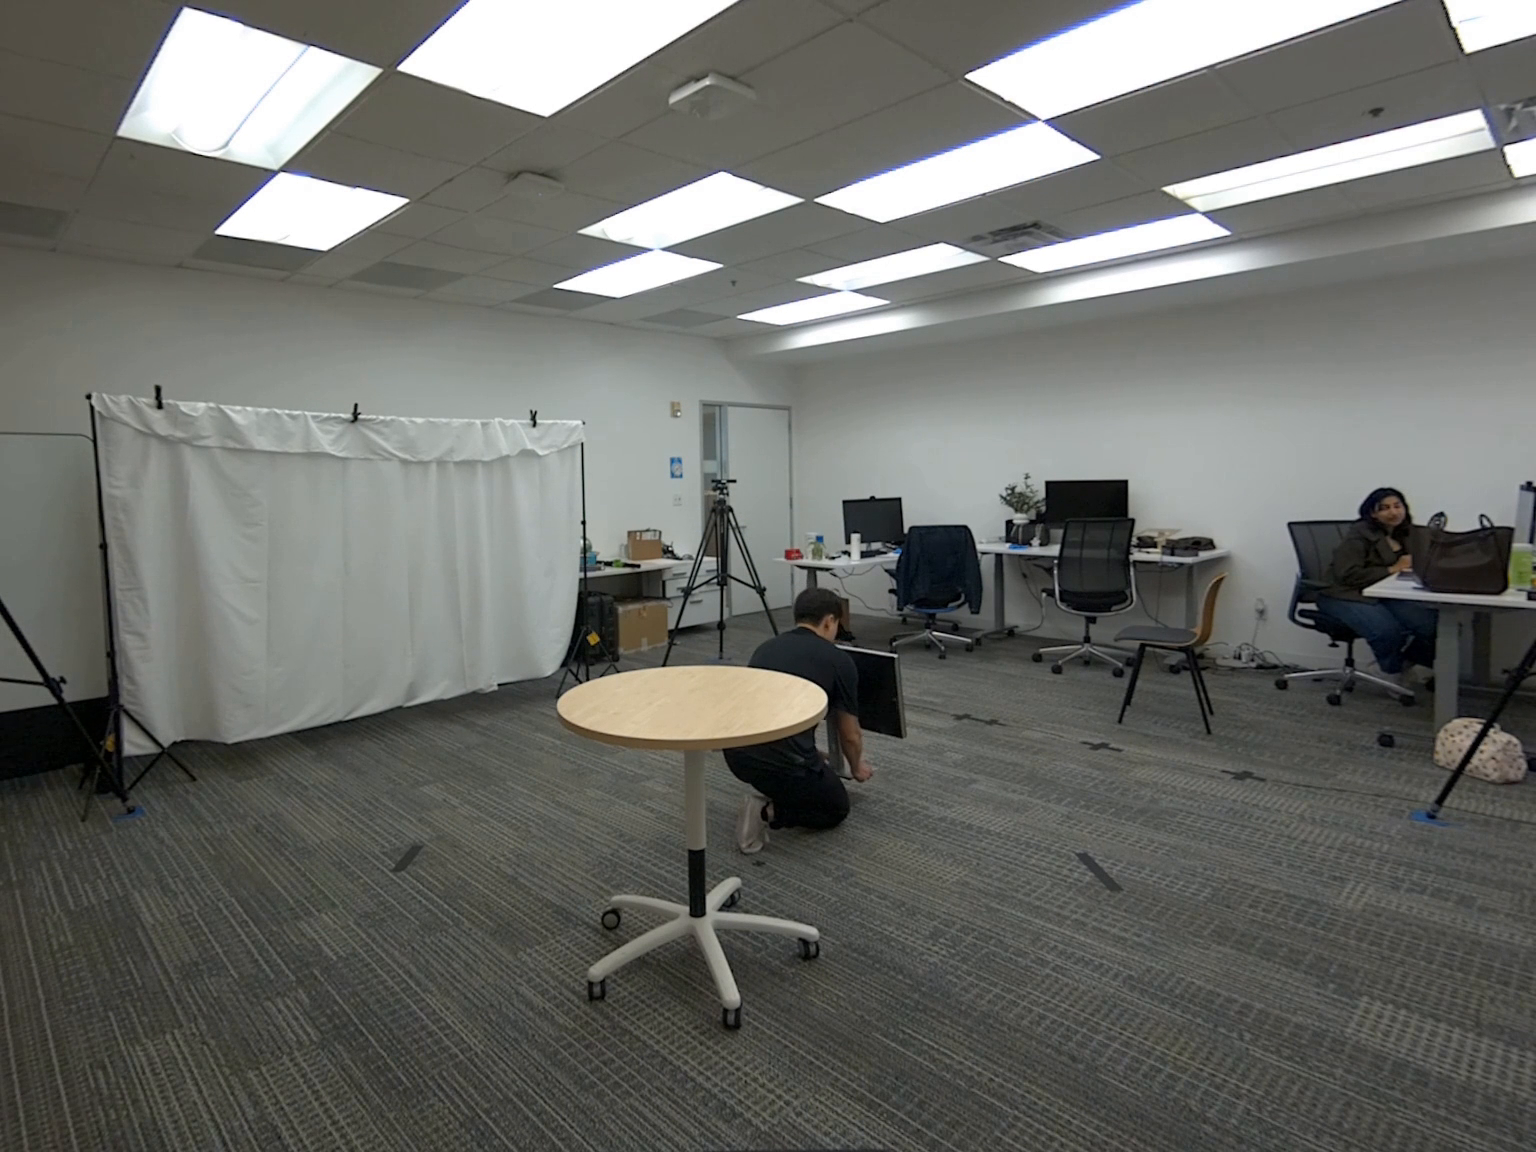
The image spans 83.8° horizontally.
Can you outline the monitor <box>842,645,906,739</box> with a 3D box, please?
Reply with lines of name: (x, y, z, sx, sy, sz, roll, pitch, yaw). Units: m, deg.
monitor: (0.340, 0.578, 3.735, 0.182, 0.522, 0.555, -1, 3, -45)
